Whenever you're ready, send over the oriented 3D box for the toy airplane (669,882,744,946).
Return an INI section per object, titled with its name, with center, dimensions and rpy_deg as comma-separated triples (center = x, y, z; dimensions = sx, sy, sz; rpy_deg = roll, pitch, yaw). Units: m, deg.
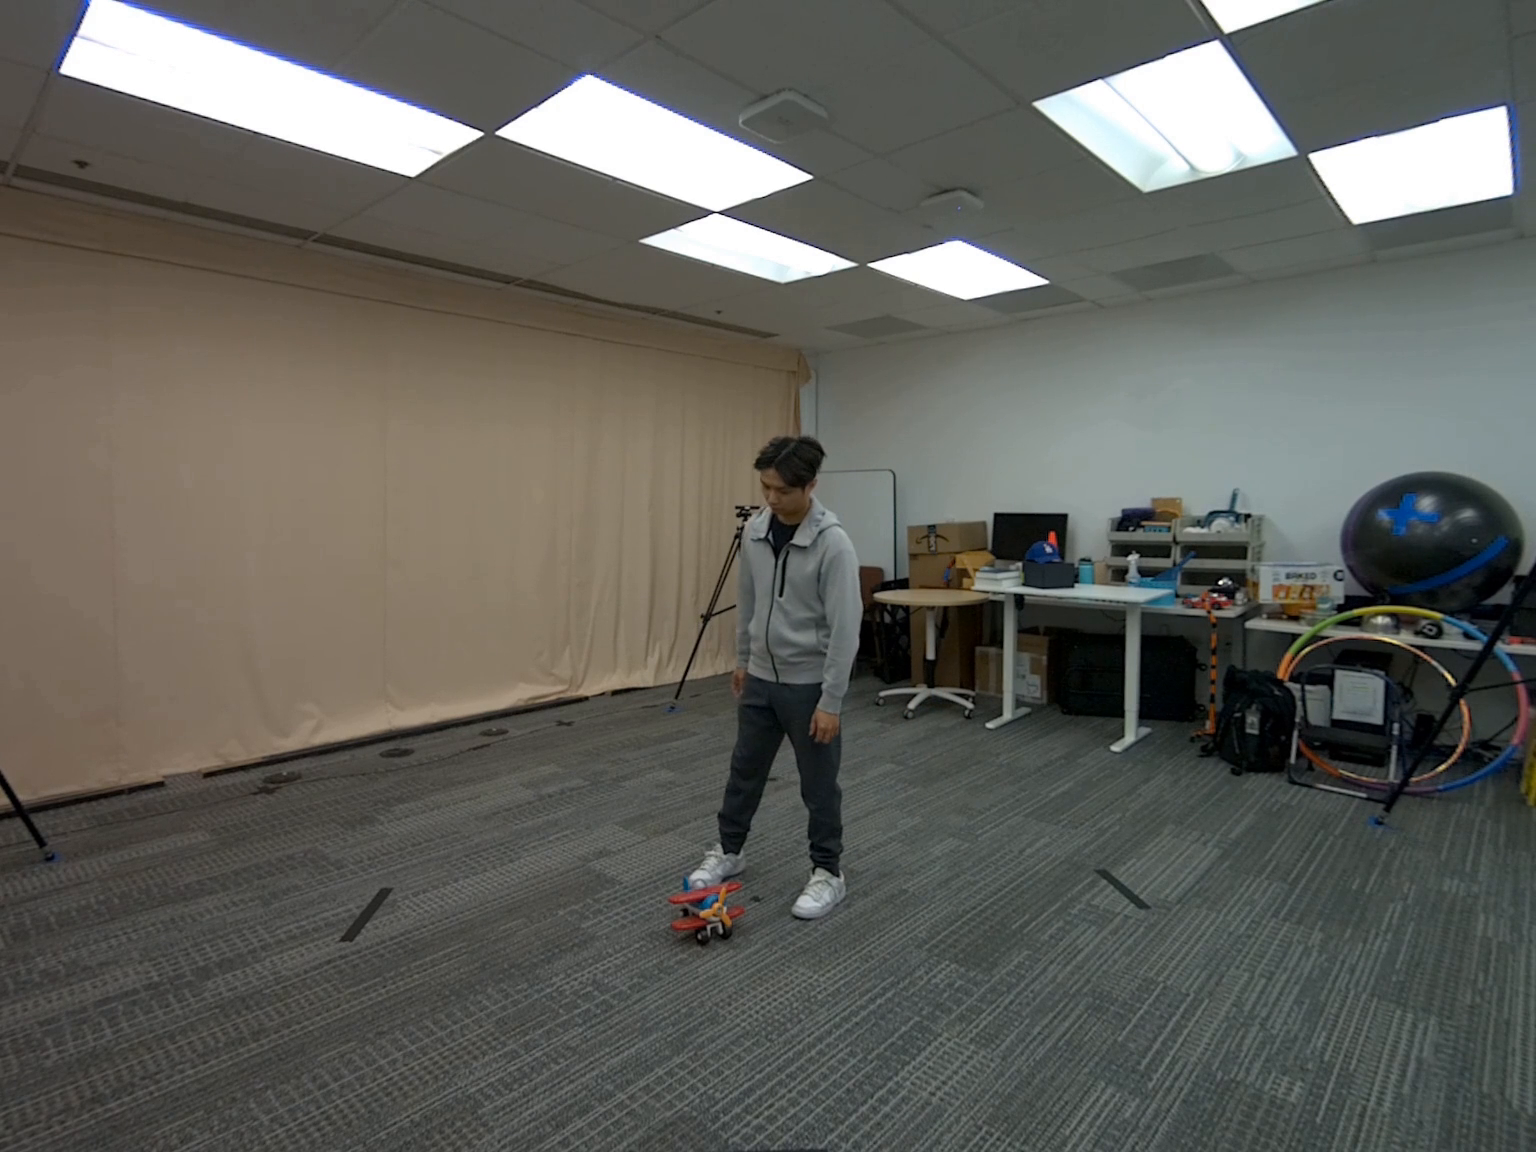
[toy airplane]
center = -0.228, 1.086, 2.758
dimensions = 0.267, 0.156, 0.244
rpy_deg = 4, 5, 31
